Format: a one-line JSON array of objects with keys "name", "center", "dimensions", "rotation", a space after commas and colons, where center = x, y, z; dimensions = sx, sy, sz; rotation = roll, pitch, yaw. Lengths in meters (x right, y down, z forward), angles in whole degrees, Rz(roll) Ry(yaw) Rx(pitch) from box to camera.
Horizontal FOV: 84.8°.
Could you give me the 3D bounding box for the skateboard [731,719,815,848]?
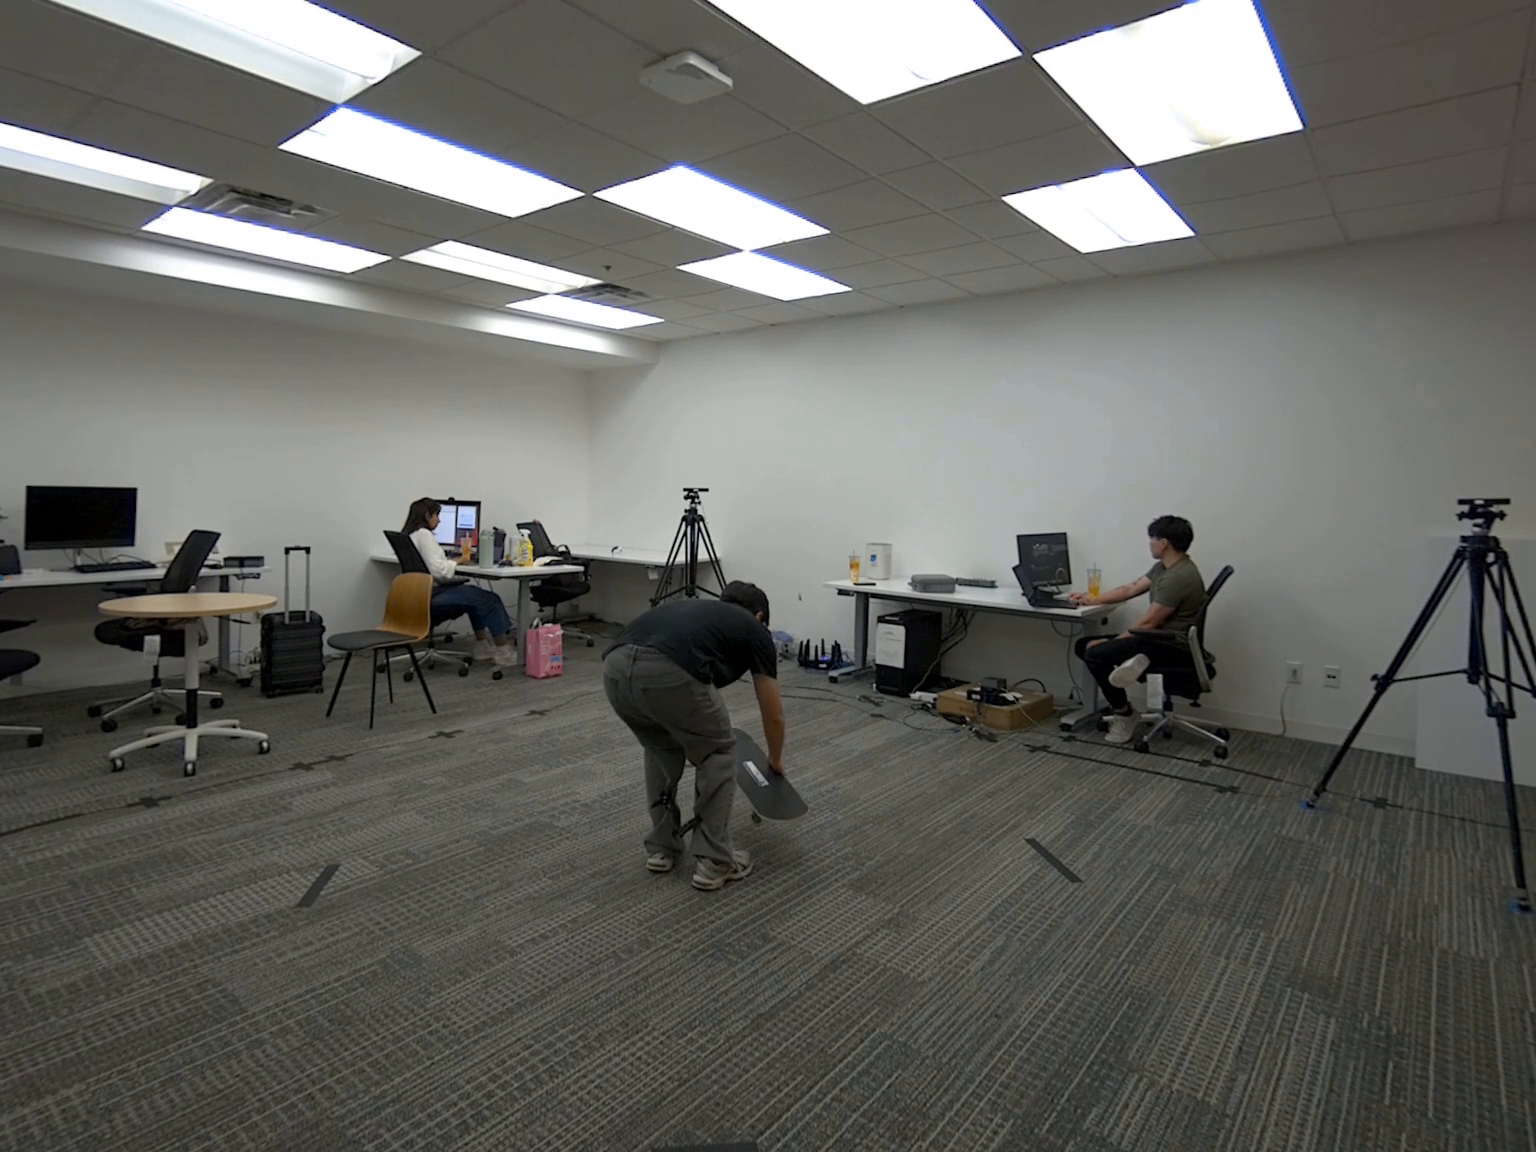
[{"name": "skateboard", "center": [-0.061, 0.818, 3.440], "dimensions": [0.190, 0.108, 0.810], "rotation": [-9, 17, -18]}]
